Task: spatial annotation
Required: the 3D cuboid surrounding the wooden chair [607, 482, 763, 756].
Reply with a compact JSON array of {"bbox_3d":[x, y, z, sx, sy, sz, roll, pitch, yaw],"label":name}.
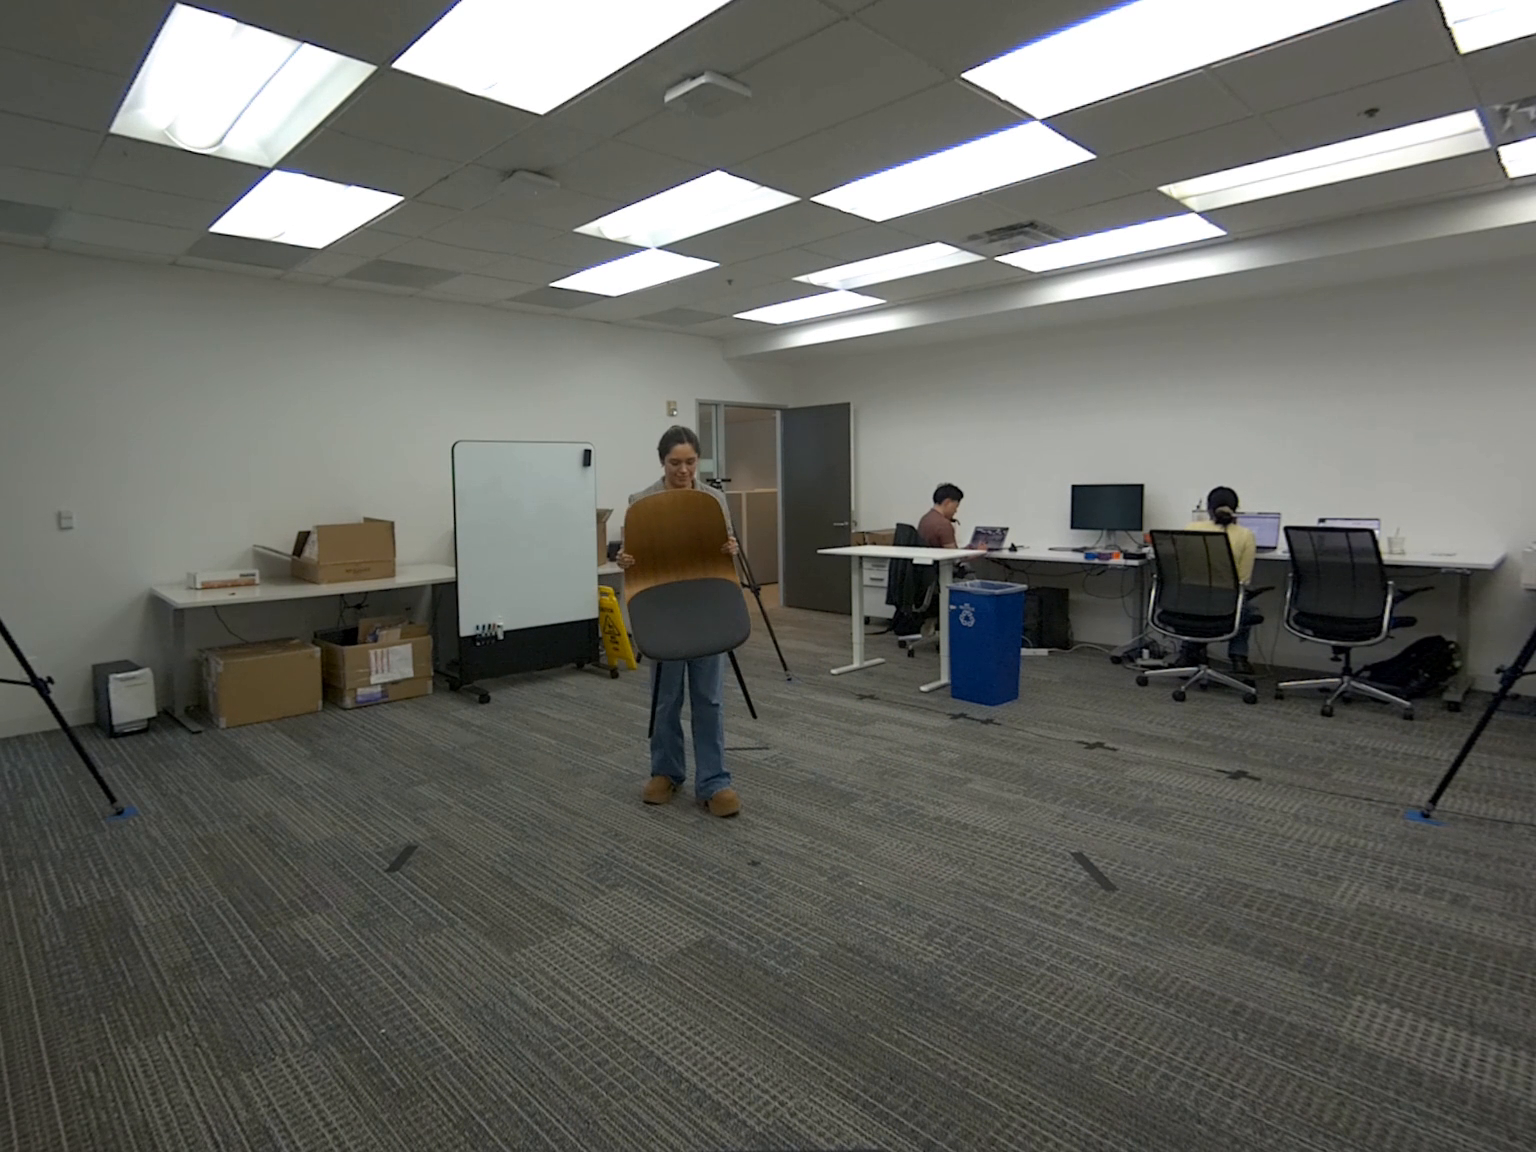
[{"bbox_3d":[-0.328,0.165,3.416,0.474,0.855,0.541,-8,33,-10],"label":"wooden chair"}]
